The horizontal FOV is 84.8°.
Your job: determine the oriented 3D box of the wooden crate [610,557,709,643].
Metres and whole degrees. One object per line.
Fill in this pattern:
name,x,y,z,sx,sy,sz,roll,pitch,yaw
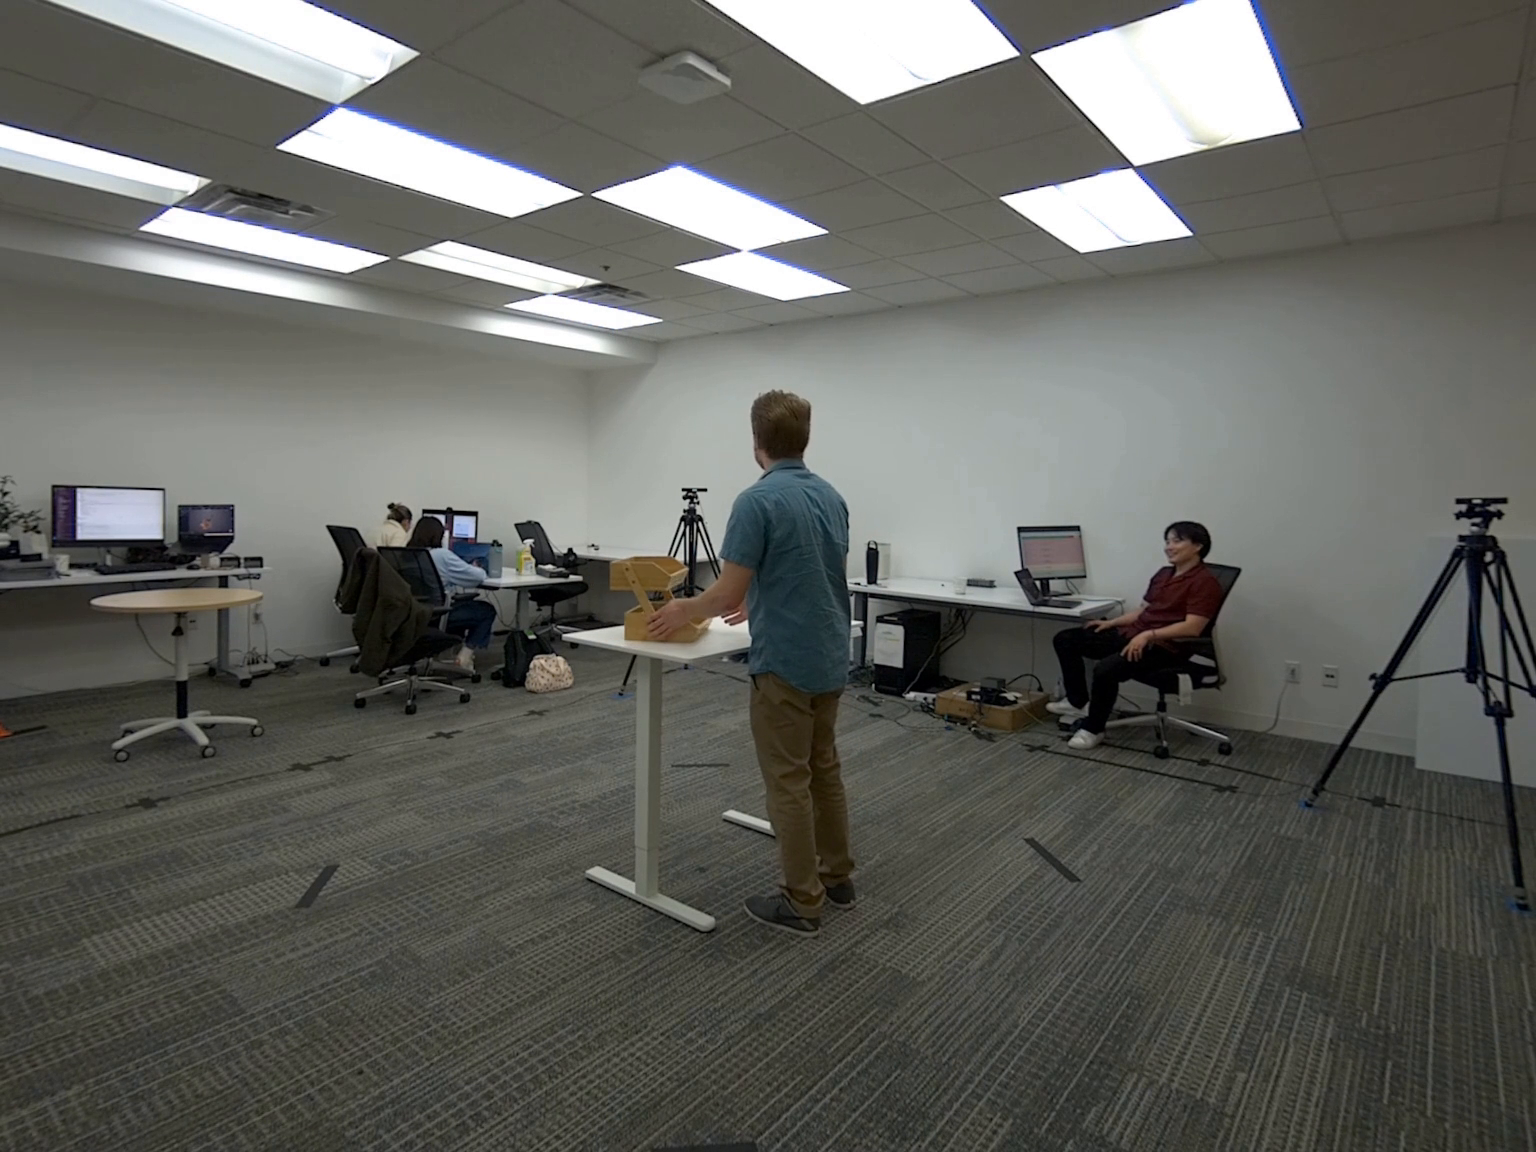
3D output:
wooden crate,-0.369,0.068,2.956,0.305,0.272,0.323,0,4,7
